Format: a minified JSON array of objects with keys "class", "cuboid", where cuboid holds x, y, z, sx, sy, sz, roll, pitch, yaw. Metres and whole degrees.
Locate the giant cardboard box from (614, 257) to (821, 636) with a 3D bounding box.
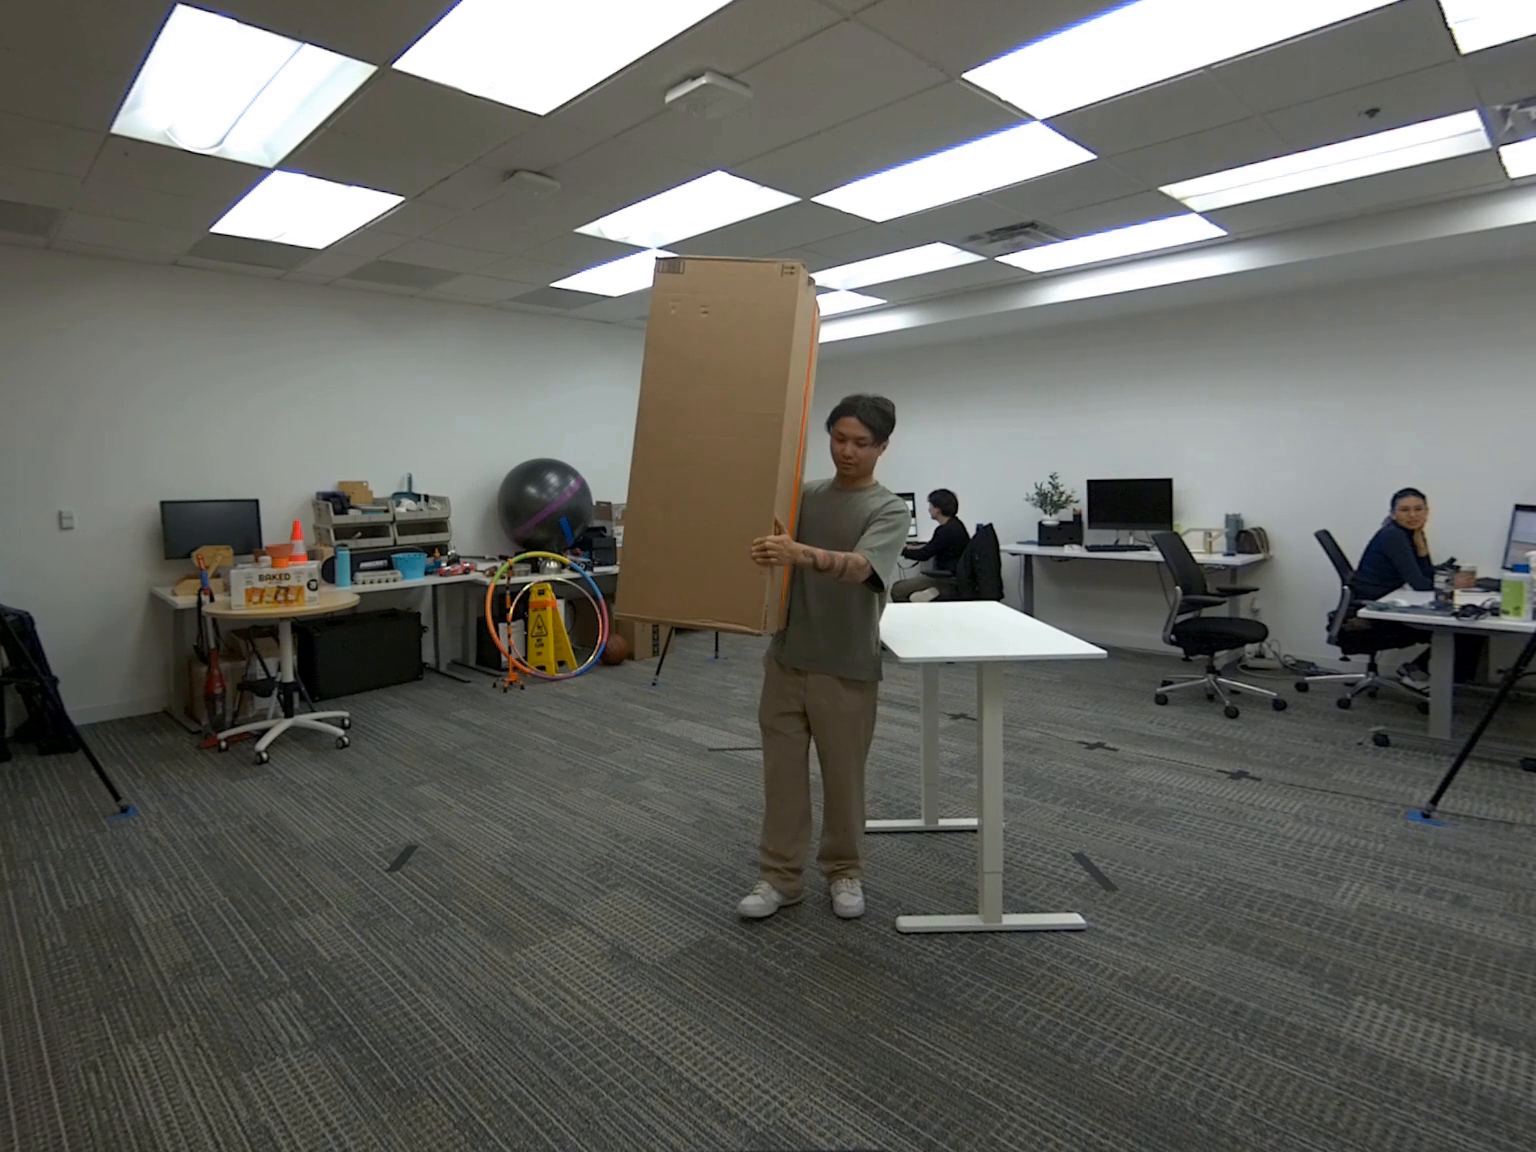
[{"class":"giant cardboard box","cuboid":[-0.124,-0.363,2.601,0.431,1.028,0.570,6,-2,10]}]
